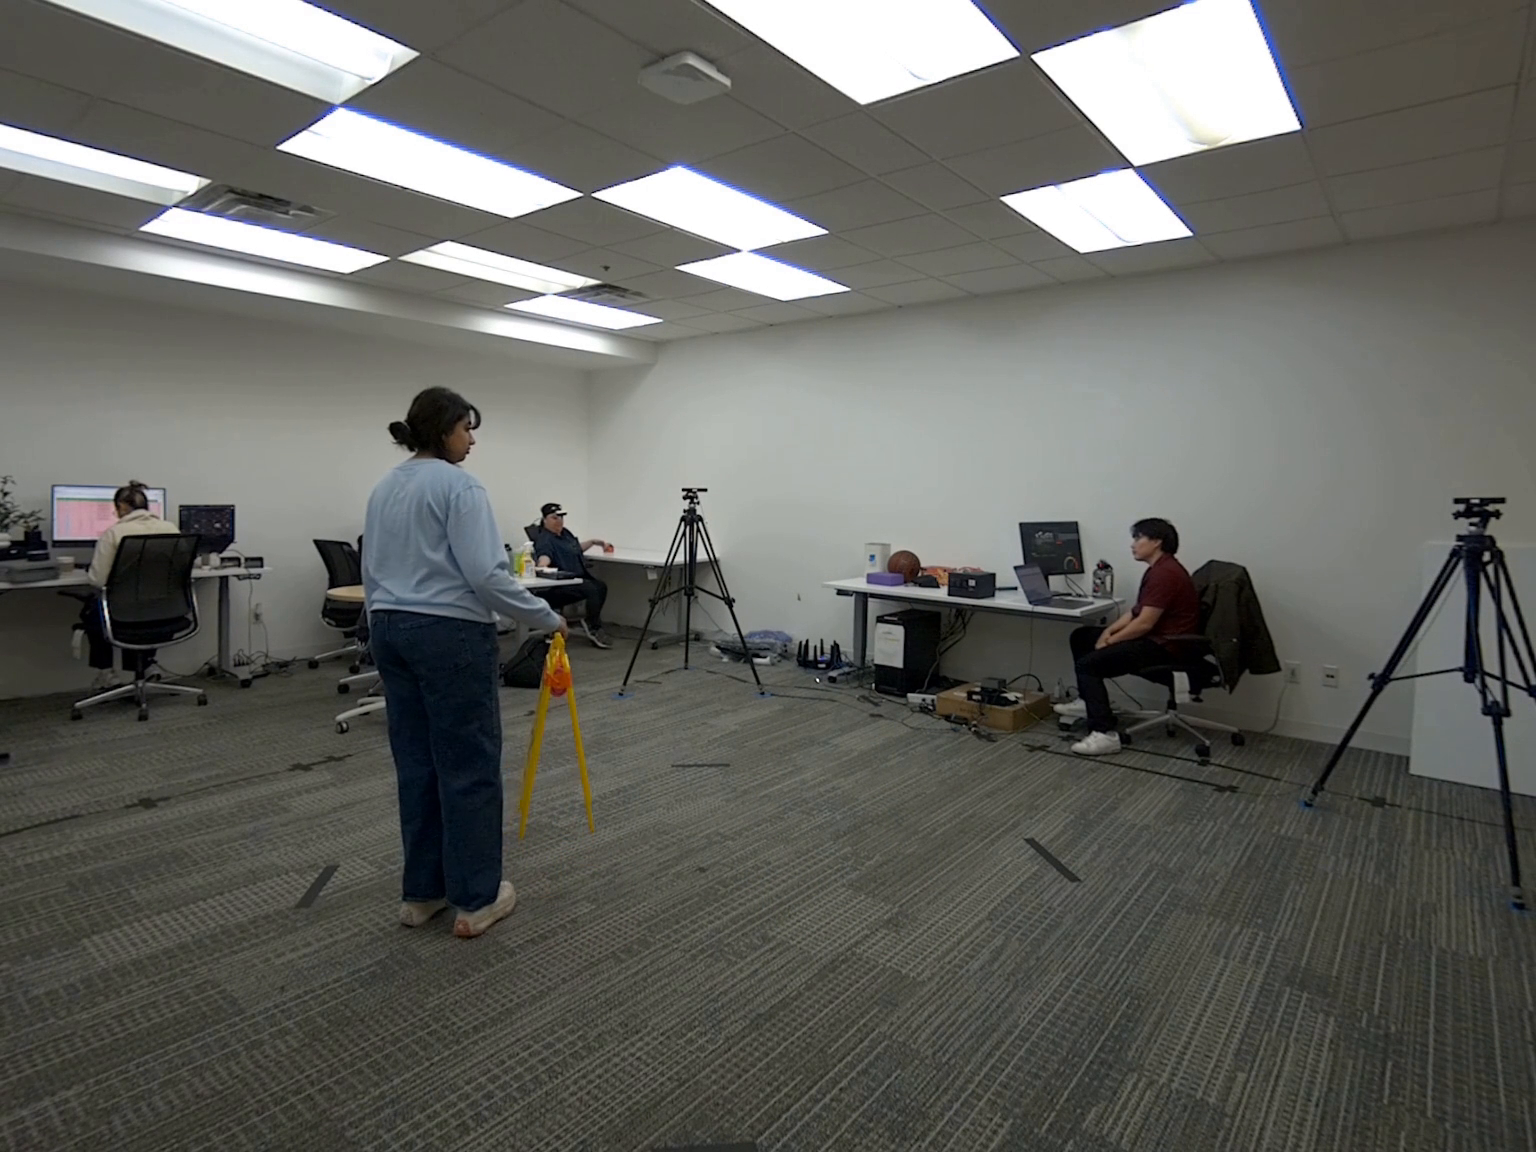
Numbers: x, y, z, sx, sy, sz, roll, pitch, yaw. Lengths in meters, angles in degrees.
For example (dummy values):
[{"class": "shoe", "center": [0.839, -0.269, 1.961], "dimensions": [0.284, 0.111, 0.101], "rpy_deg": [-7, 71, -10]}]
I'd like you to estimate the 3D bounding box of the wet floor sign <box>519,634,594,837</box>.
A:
[{"class": "wet floor sign", "center": [-0.726, 0.504, 2.841], "dimensions": [0.285, 0.643, 0.288], "rpy_deg": [1, 5, -14]}]
